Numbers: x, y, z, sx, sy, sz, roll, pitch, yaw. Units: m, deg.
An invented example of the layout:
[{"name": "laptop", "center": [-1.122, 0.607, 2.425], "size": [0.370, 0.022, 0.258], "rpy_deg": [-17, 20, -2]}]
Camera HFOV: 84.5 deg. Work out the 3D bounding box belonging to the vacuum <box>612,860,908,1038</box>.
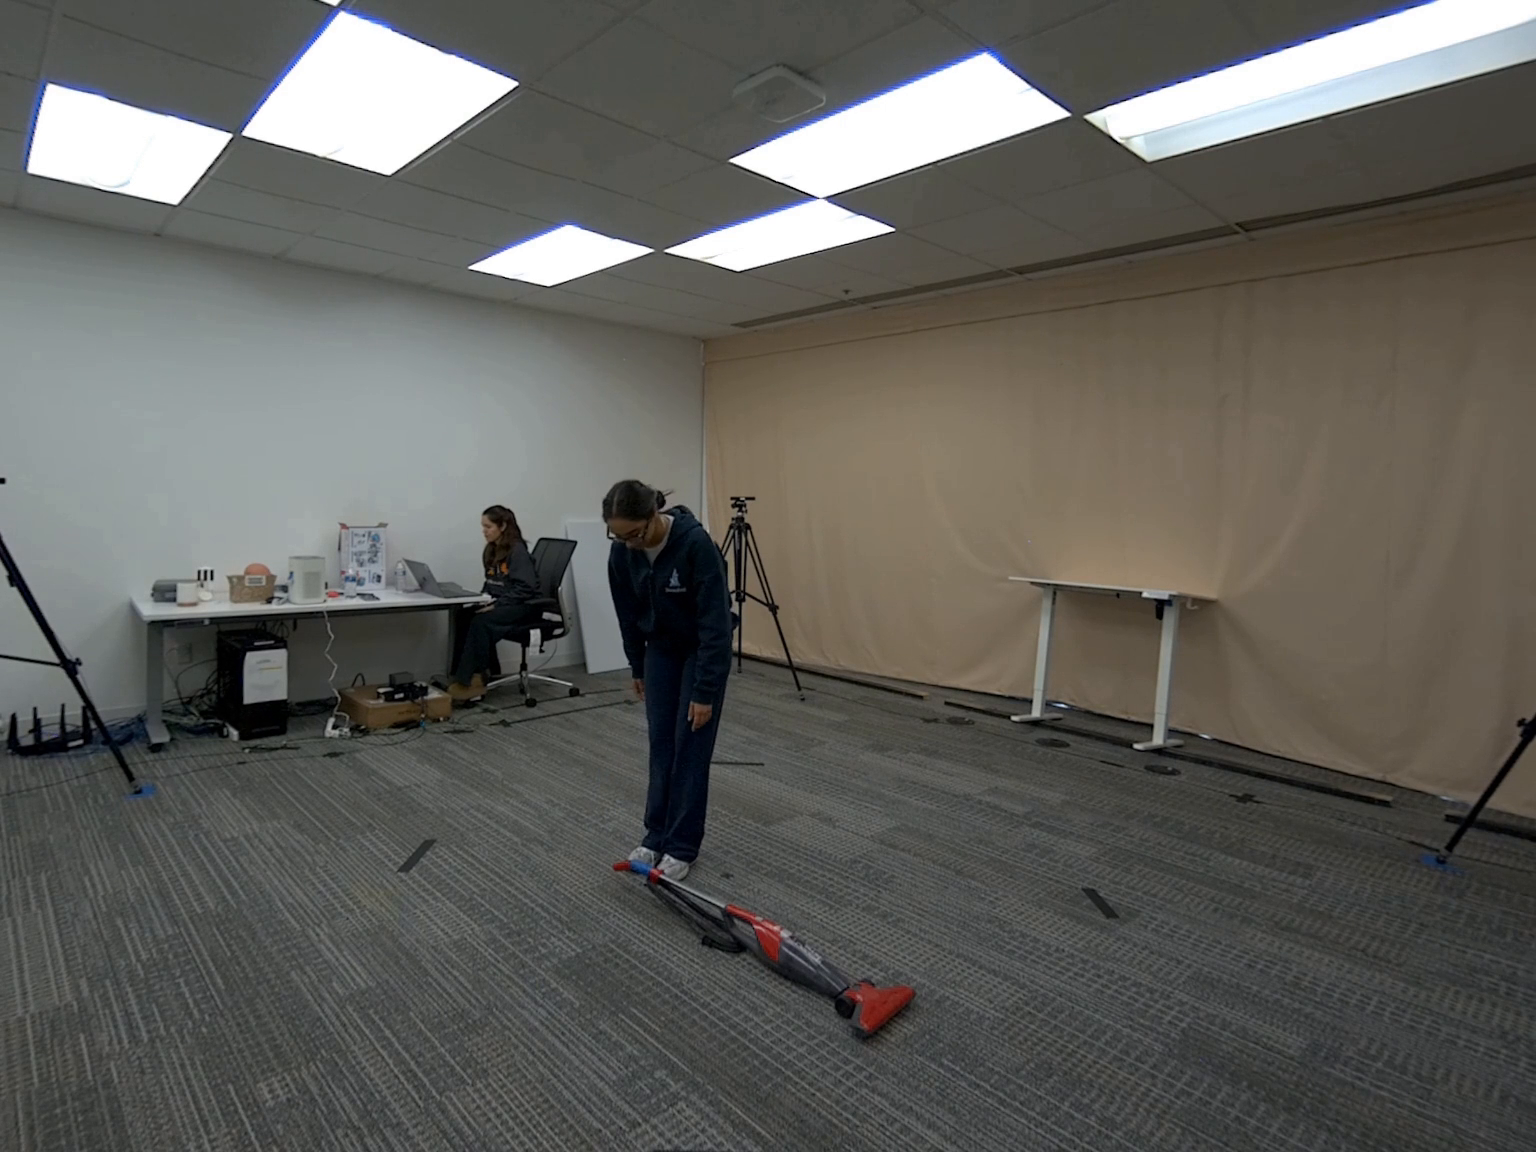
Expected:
[{"name": "vacuum", "center": [-0.123, 1.102, 2.630], "size": [1.077, 0.143, 0.248], "rpy_deg": [8, 12, 39]}]
